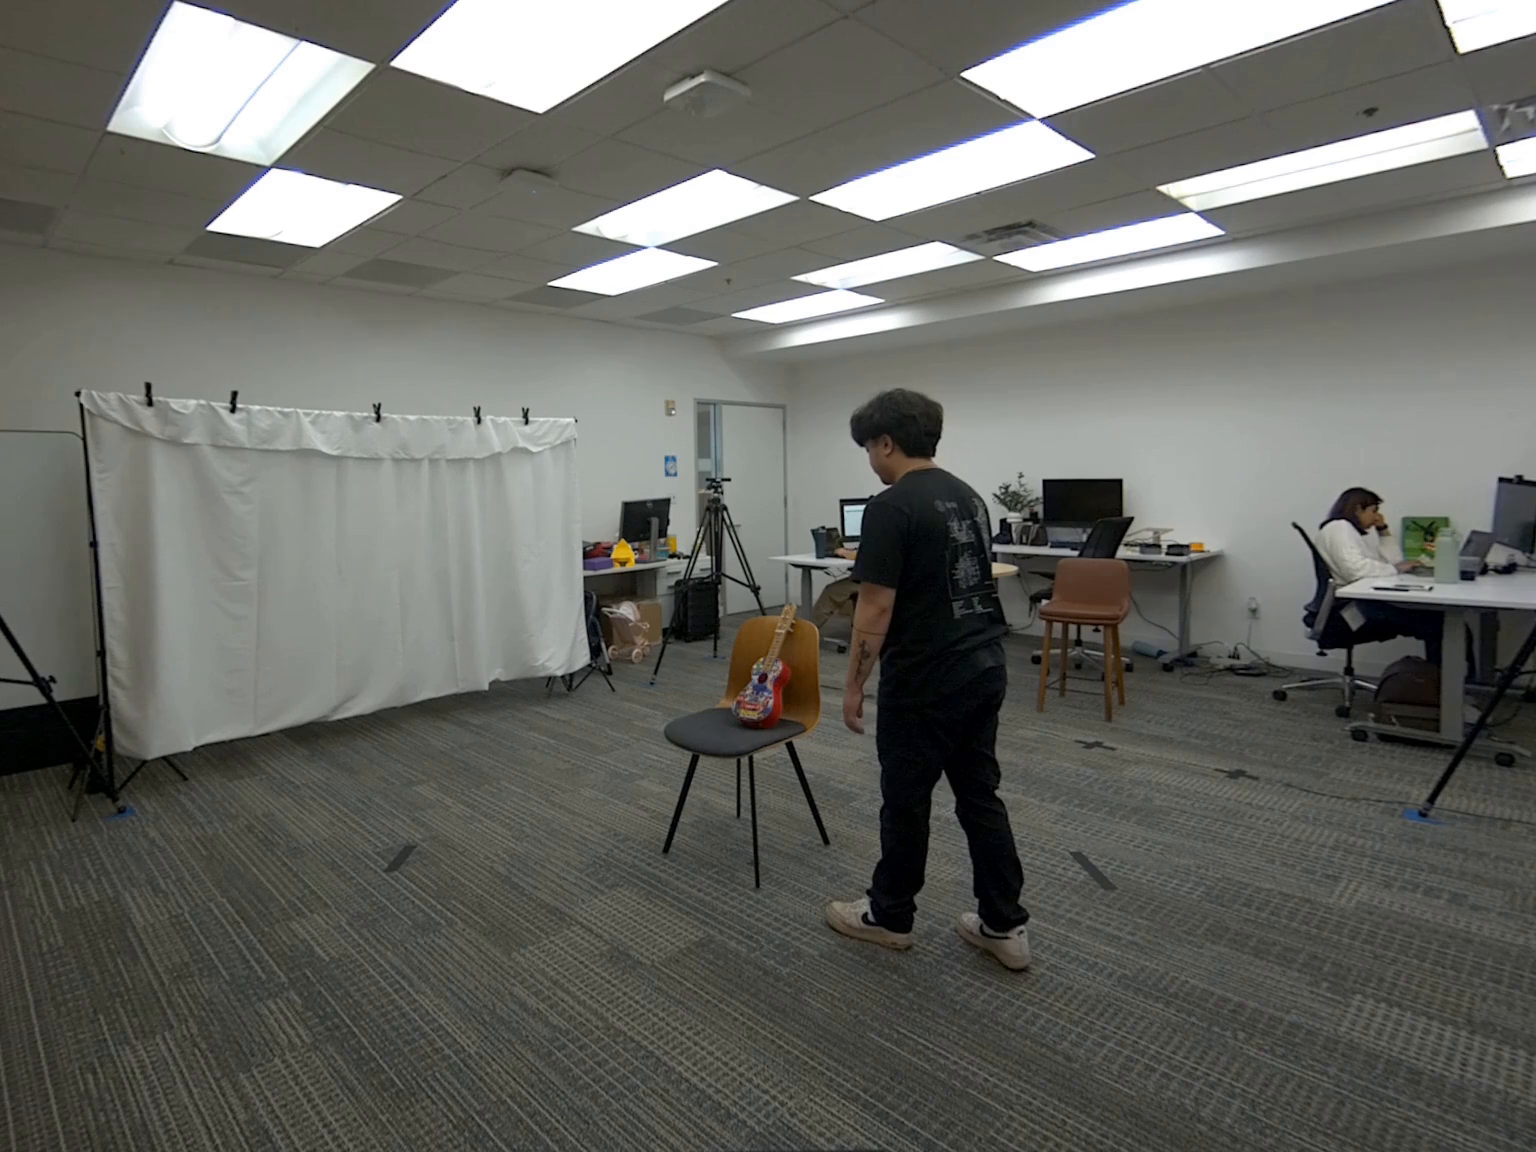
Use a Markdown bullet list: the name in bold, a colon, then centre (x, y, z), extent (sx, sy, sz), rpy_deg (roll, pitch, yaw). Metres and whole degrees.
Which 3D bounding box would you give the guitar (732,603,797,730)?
- **guitar**: centre (0.028, 0.340, 3.246), extent (0.199, 0.501, 0.068), rpy_deg (6, -28, 44)
